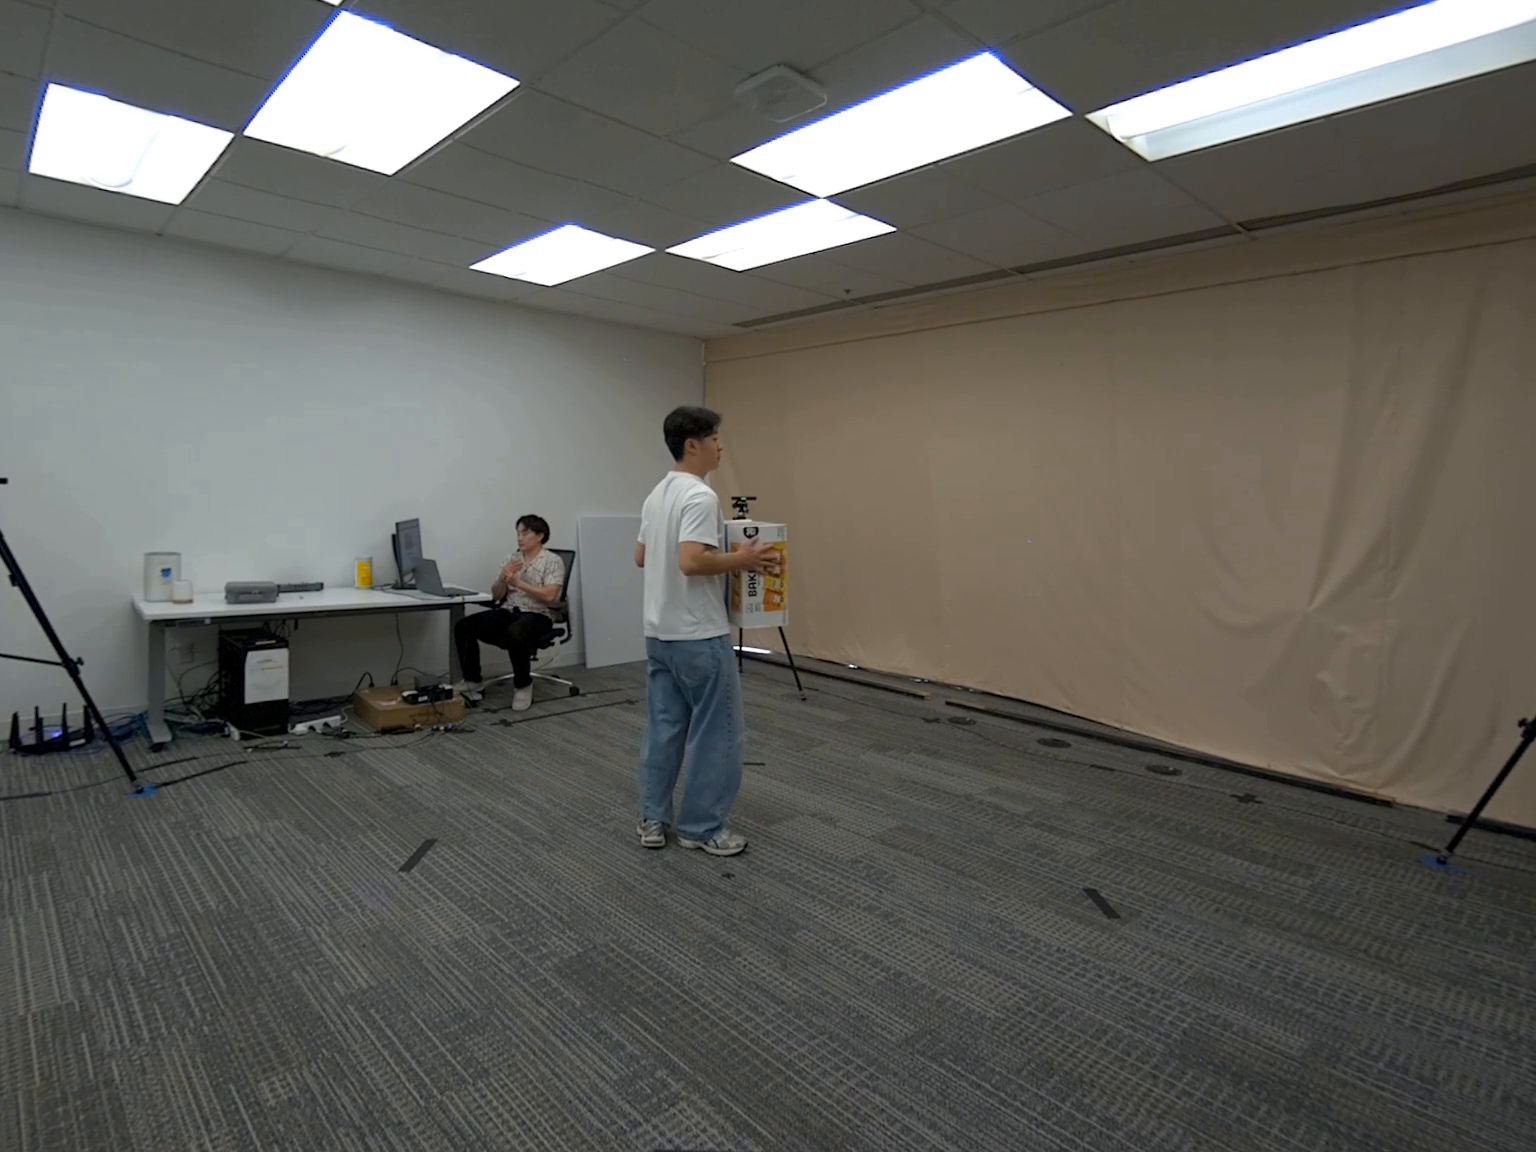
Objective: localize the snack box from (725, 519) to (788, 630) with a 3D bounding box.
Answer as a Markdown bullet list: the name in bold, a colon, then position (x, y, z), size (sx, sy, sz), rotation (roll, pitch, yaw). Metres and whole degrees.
- **snack box**: position (-0.097, -0.019, 3.466), size (0.202, 0.403, 0.347), rotation (-3, 7, -24)
